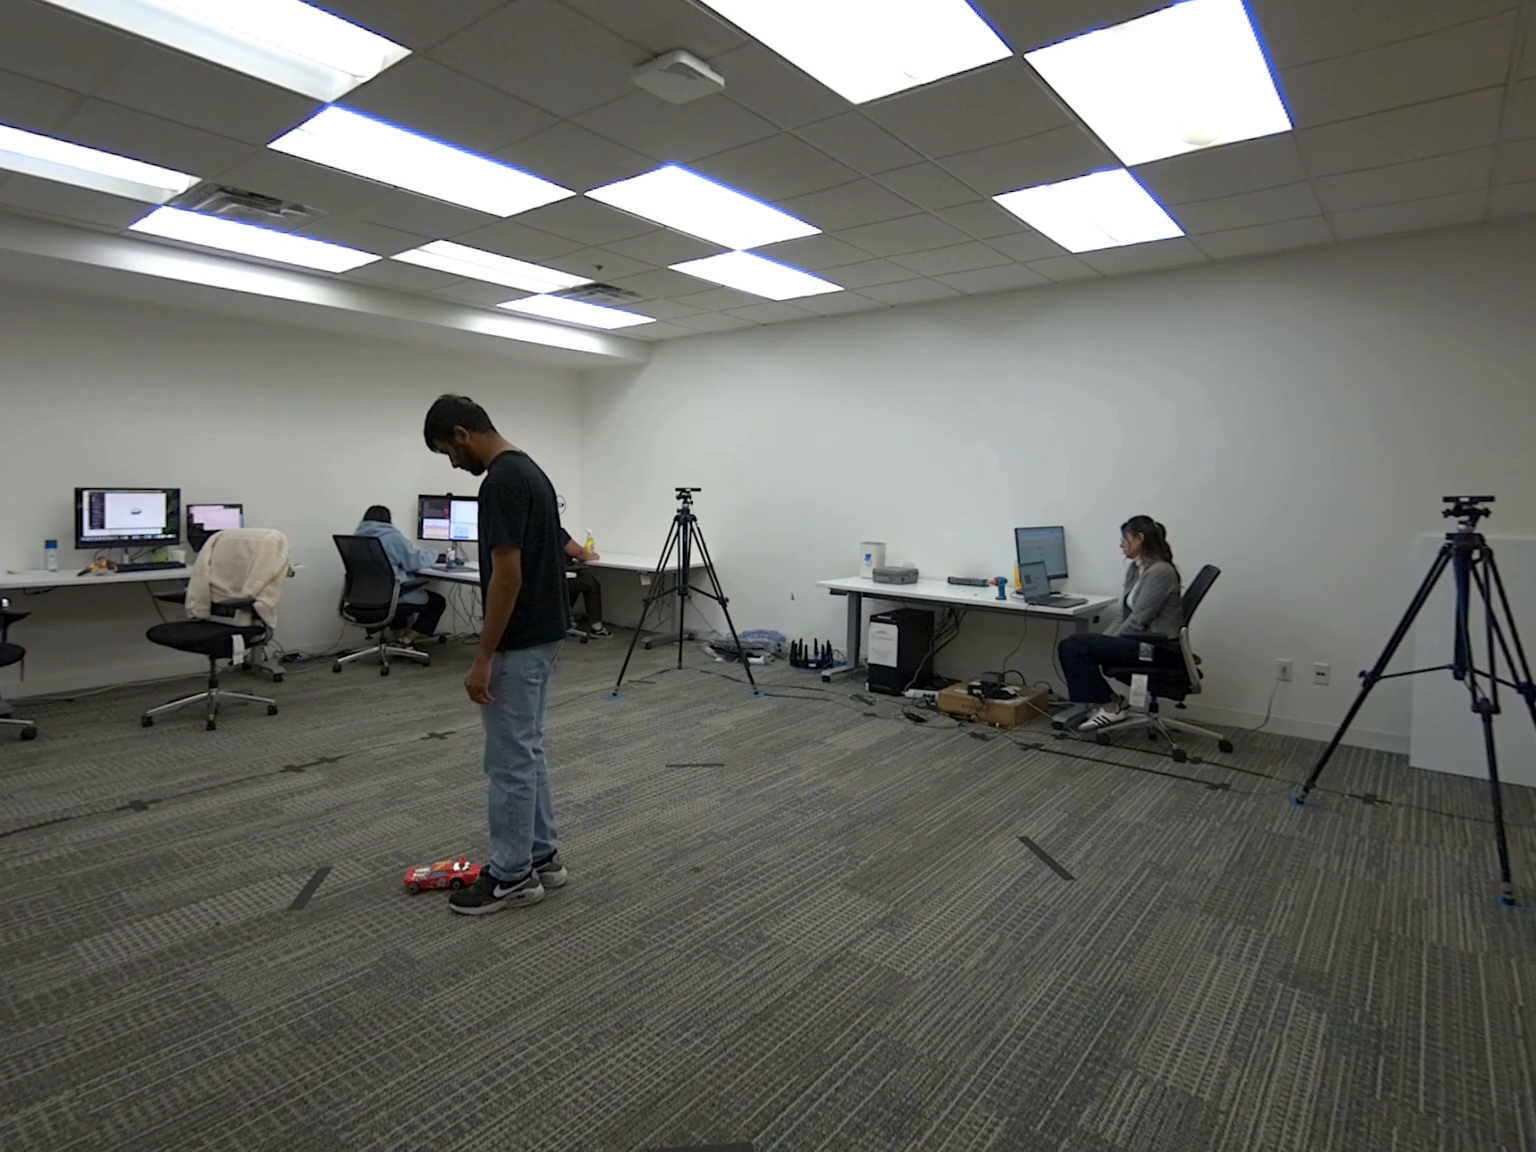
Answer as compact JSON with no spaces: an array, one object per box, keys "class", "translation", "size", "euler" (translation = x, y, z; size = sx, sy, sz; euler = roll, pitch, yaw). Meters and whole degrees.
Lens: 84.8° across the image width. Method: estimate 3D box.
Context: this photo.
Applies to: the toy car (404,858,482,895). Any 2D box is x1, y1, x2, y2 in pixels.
[{"class":"toy car","translation":[-1.138,1.039,2.959],"size":[0.253,0.083,0.132],"euler":[-11,6,-8]}]
